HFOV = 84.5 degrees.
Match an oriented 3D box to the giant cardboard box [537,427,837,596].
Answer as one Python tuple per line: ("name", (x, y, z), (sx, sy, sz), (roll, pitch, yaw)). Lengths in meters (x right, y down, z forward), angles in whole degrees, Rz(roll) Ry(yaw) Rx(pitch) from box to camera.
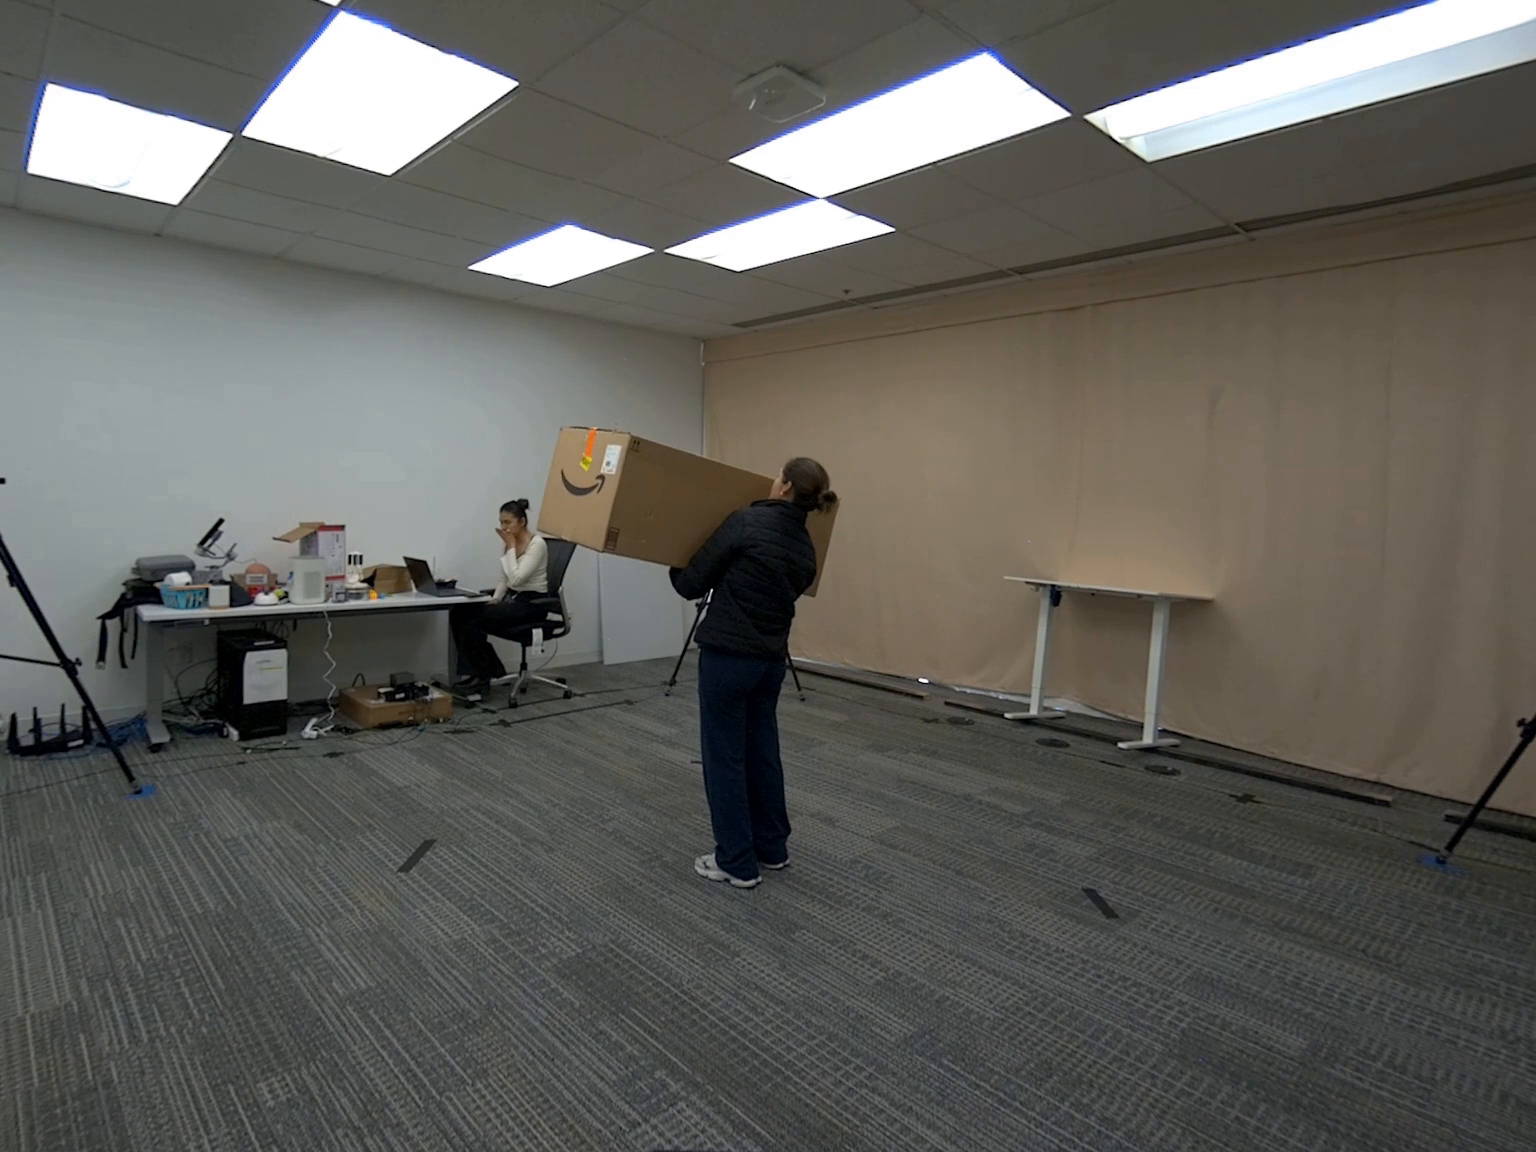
("giant cardboard box", (-0.315, -0.246, 3.388), (0.998, 0.426, 0.593), (12, 1, -39))
